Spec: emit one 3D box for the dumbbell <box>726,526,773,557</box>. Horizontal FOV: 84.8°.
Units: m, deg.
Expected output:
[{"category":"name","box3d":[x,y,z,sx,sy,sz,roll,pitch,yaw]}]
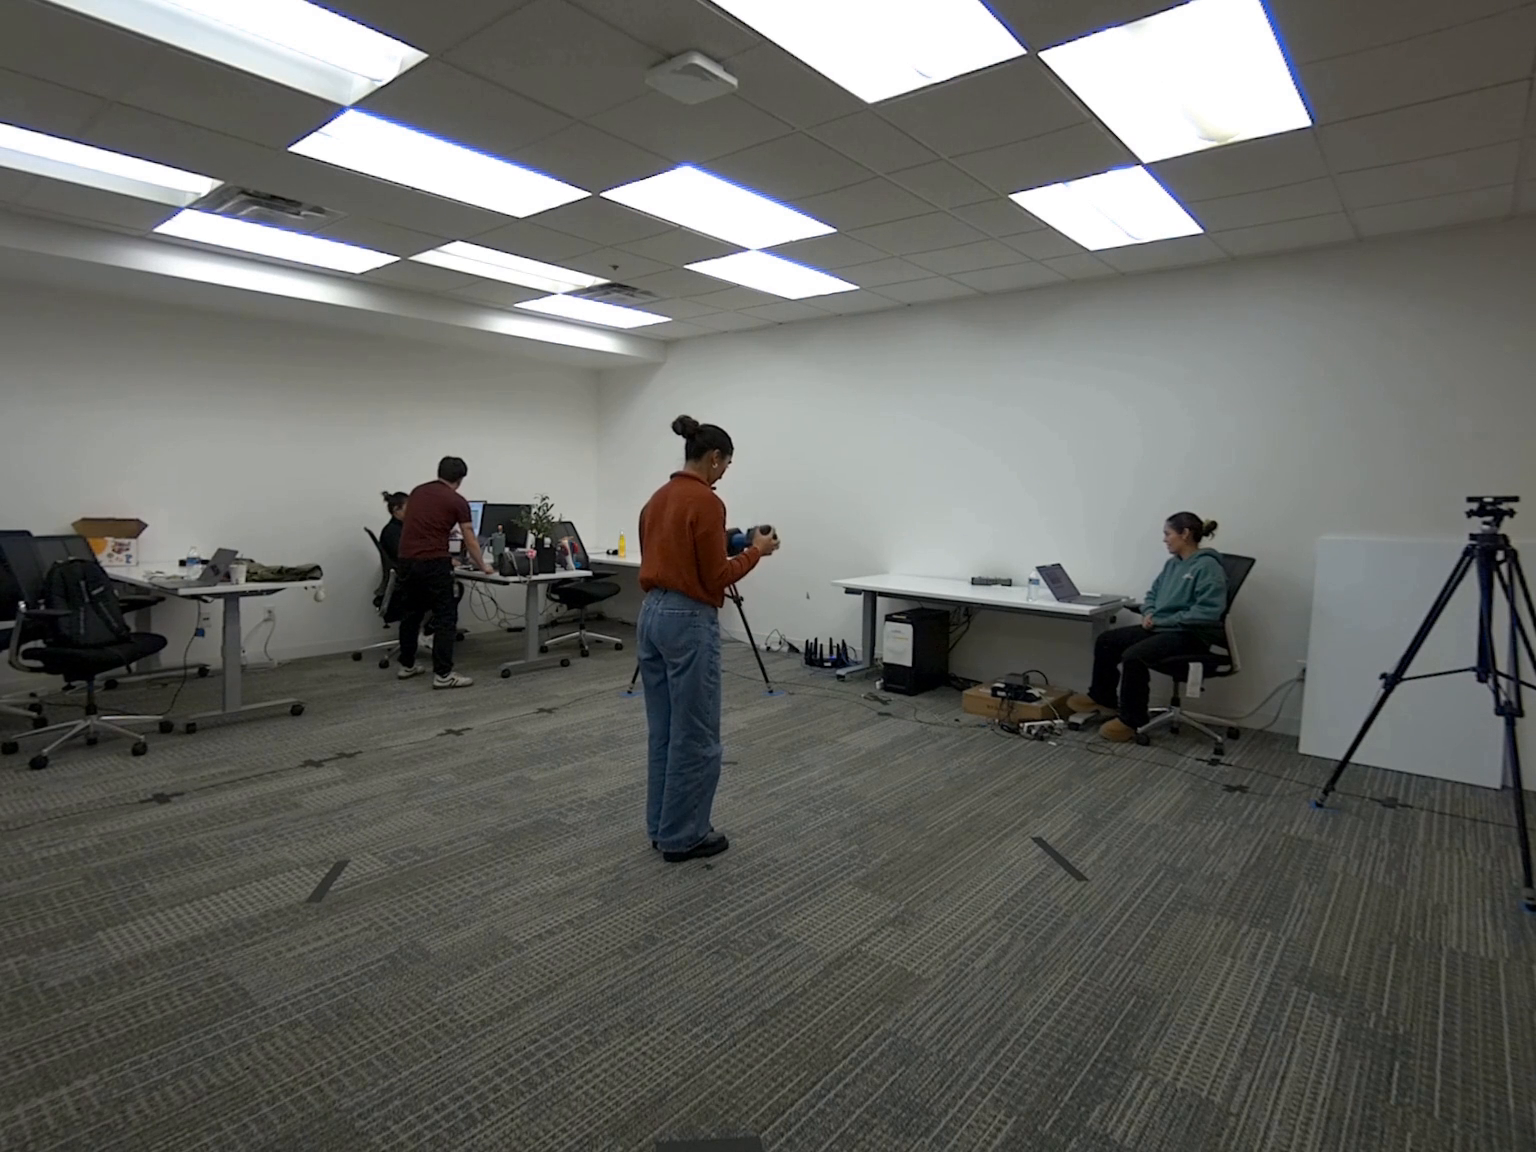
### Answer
[{"category":"dumbbell","box3d":[-0.112,-0.132,3.389,0.120,0.108,0.301,-16,8,-34]}]
